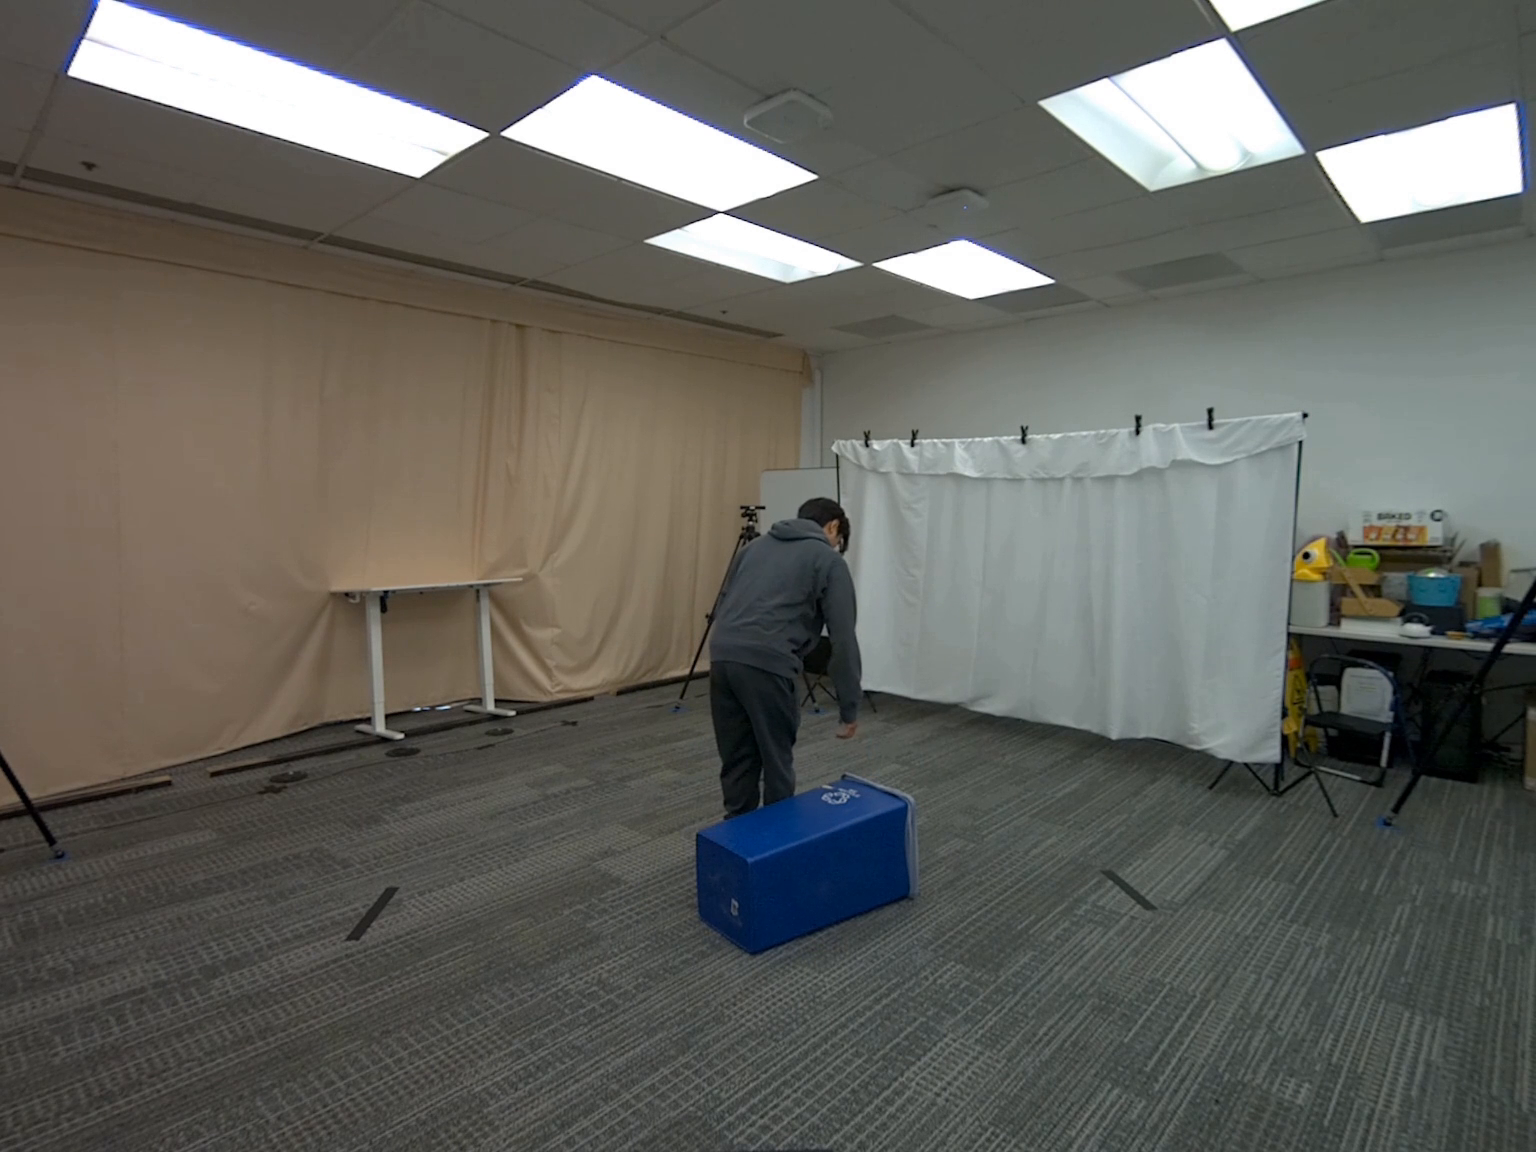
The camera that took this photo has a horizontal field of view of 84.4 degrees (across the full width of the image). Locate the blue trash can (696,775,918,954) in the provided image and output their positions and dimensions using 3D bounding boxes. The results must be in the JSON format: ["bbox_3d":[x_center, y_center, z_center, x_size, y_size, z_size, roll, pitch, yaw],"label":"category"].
[{"bbox_3d":[0.142,0.982,2.900,0.693,0.377,0.386,-7,7,-36],"label":"blue trash can"}]
